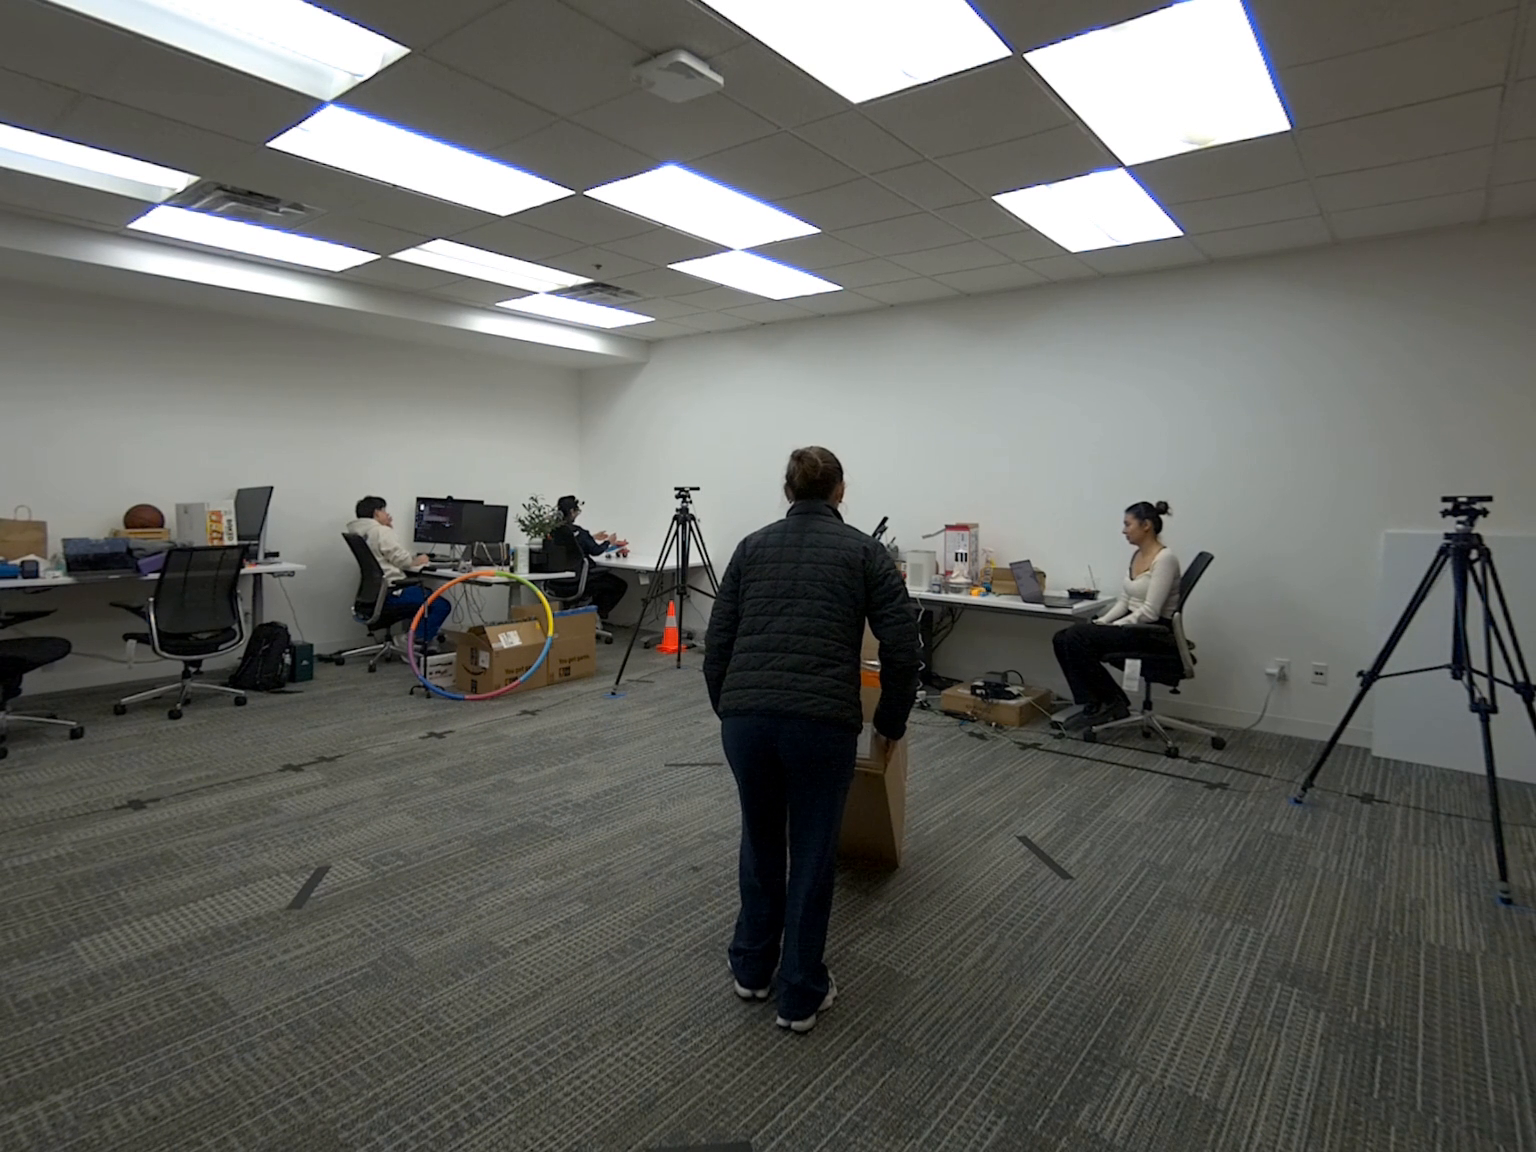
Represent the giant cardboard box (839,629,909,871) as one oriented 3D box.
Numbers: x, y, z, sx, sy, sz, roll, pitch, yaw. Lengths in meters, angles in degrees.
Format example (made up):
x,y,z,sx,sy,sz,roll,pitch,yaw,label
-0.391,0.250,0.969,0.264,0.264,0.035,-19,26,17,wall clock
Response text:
x,y,z,sx,sy,sz,roll,pitch,yaw,label
0.263,0.554,2.971,0.455,0.595,0.990,3,-31,15,giant cardboard box
